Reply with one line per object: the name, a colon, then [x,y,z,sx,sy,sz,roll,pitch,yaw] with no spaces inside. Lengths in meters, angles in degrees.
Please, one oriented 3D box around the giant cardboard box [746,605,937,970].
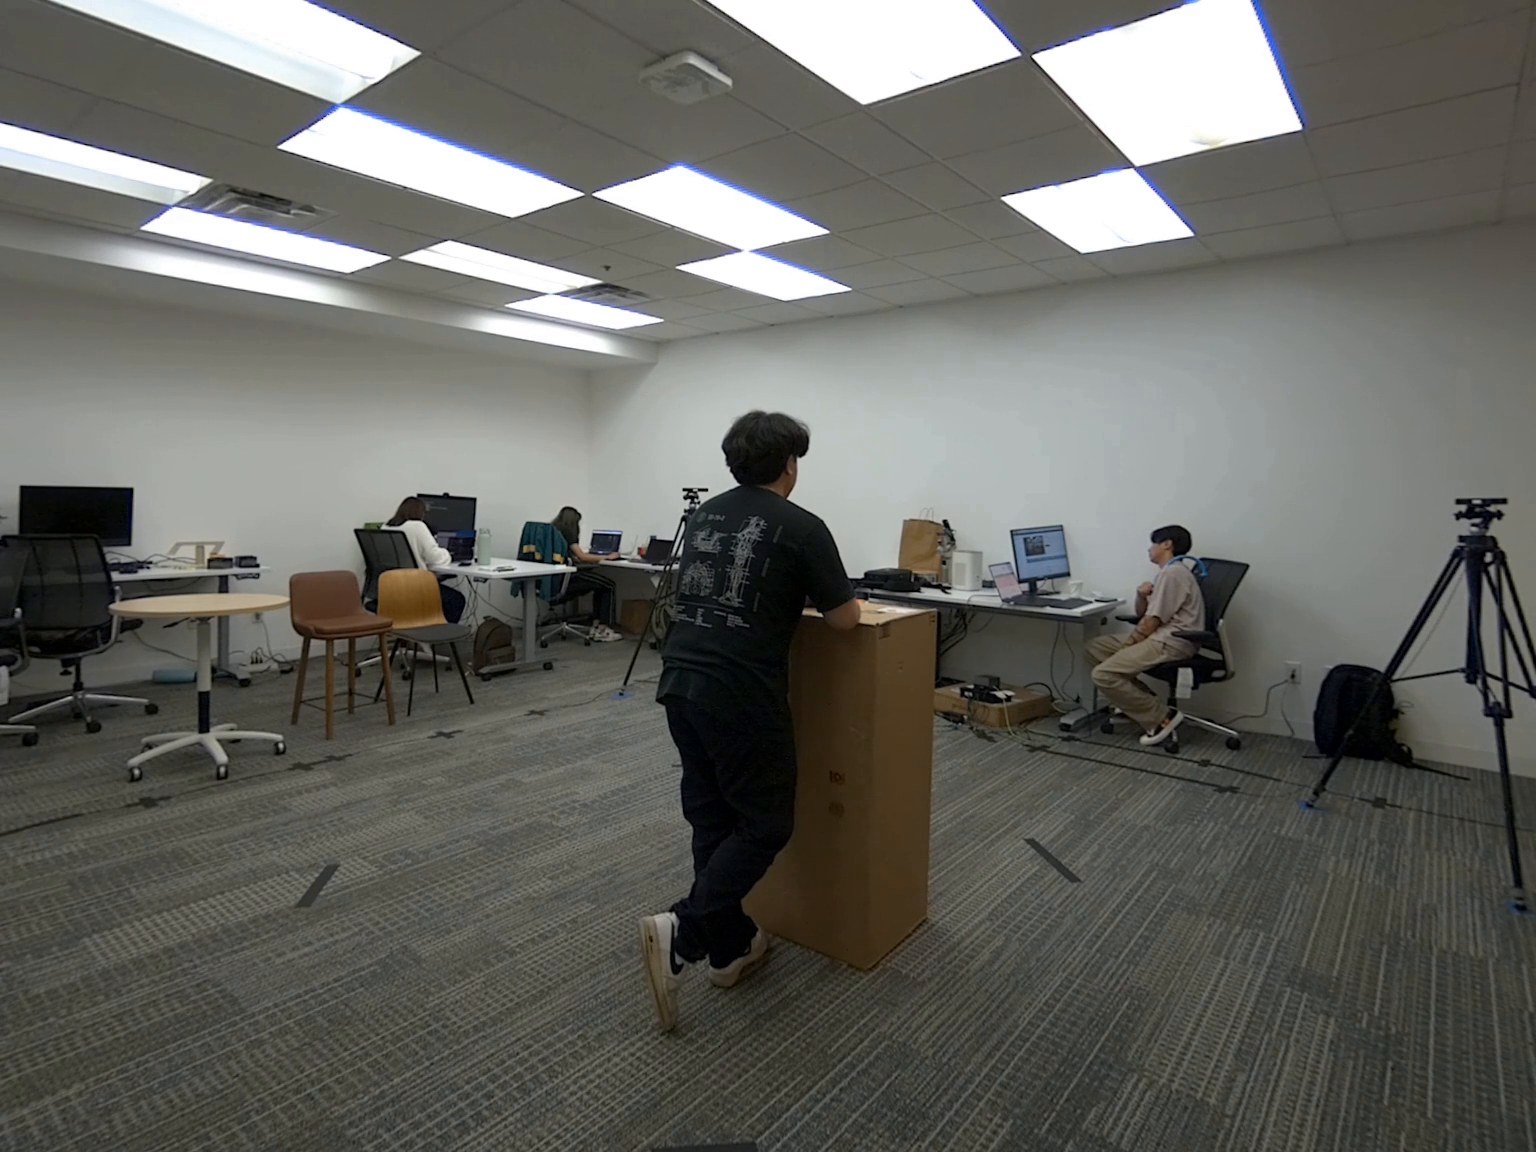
giant cardboard box: [0.180,0.600,2.782,0.603,1.024,0.433,4,3,37]
